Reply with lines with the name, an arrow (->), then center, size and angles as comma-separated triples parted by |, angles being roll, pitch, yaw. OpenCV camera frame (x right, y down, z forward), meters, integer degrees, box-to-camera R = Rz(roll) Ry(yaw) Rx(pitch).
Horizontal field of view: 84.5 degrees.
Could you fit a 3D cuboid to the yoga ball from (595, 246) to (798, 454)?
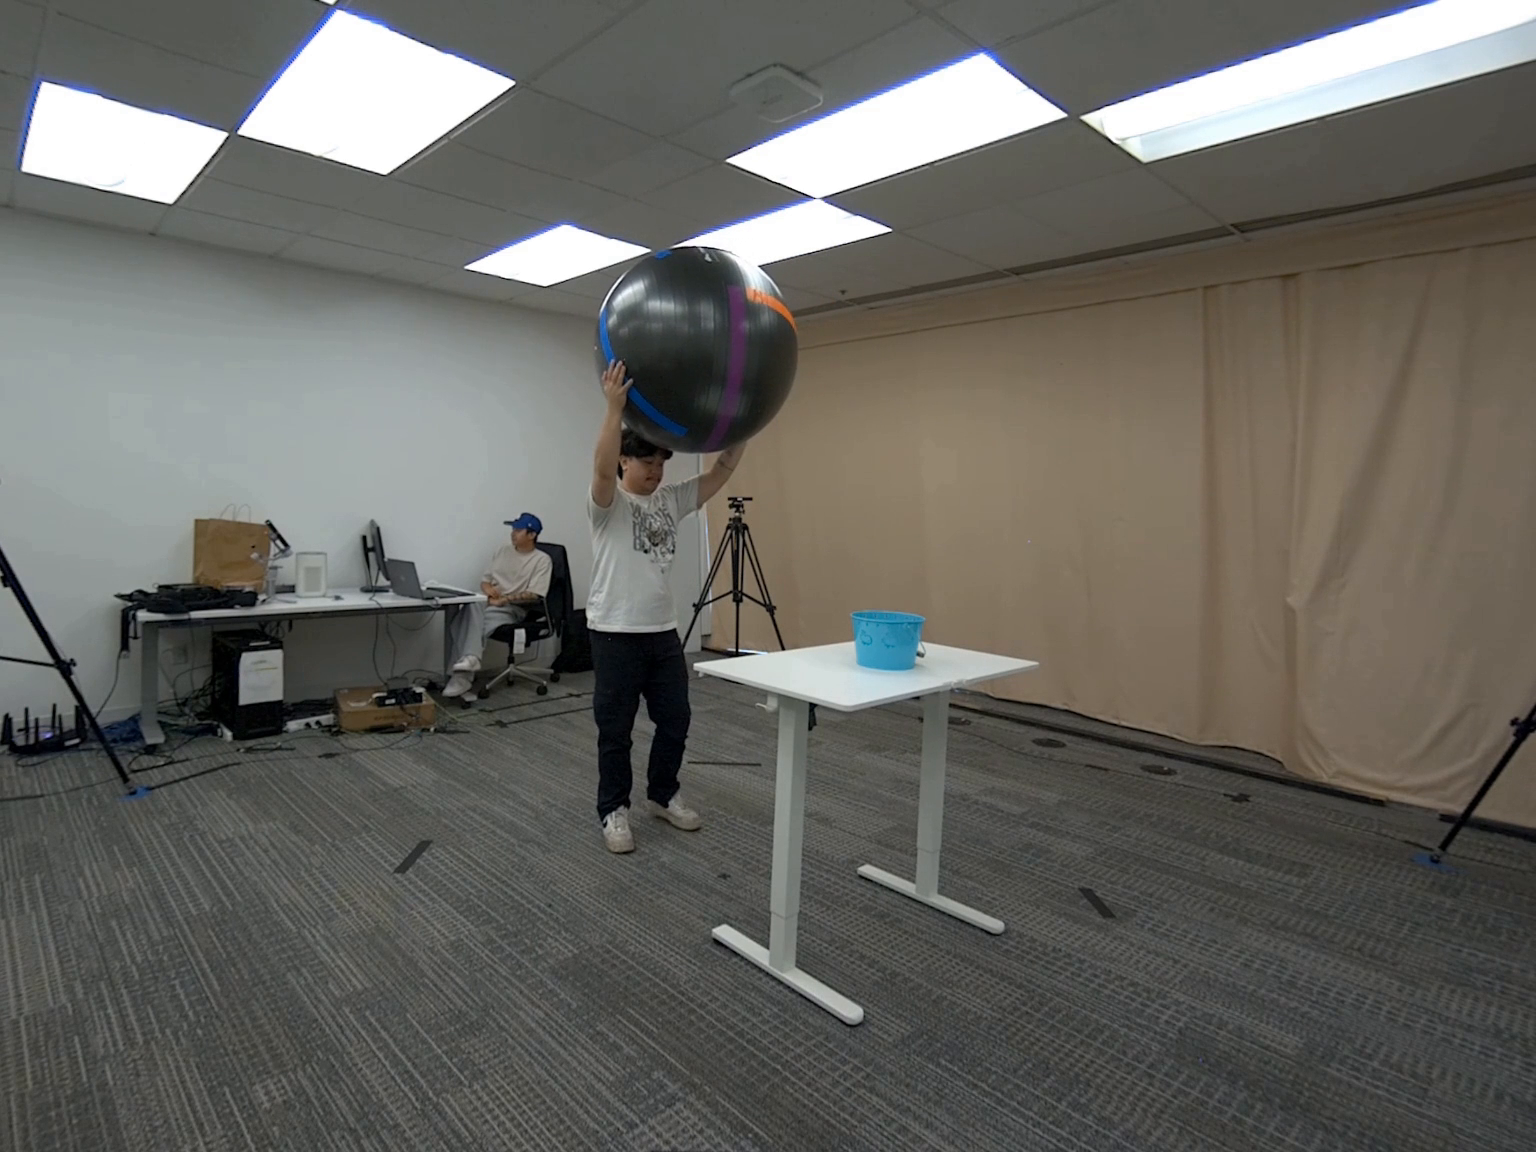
yoga ball -> -0.270, -0.833, 3.146 | 0.757, 0.756, 0.761 | 1, 4, -1
